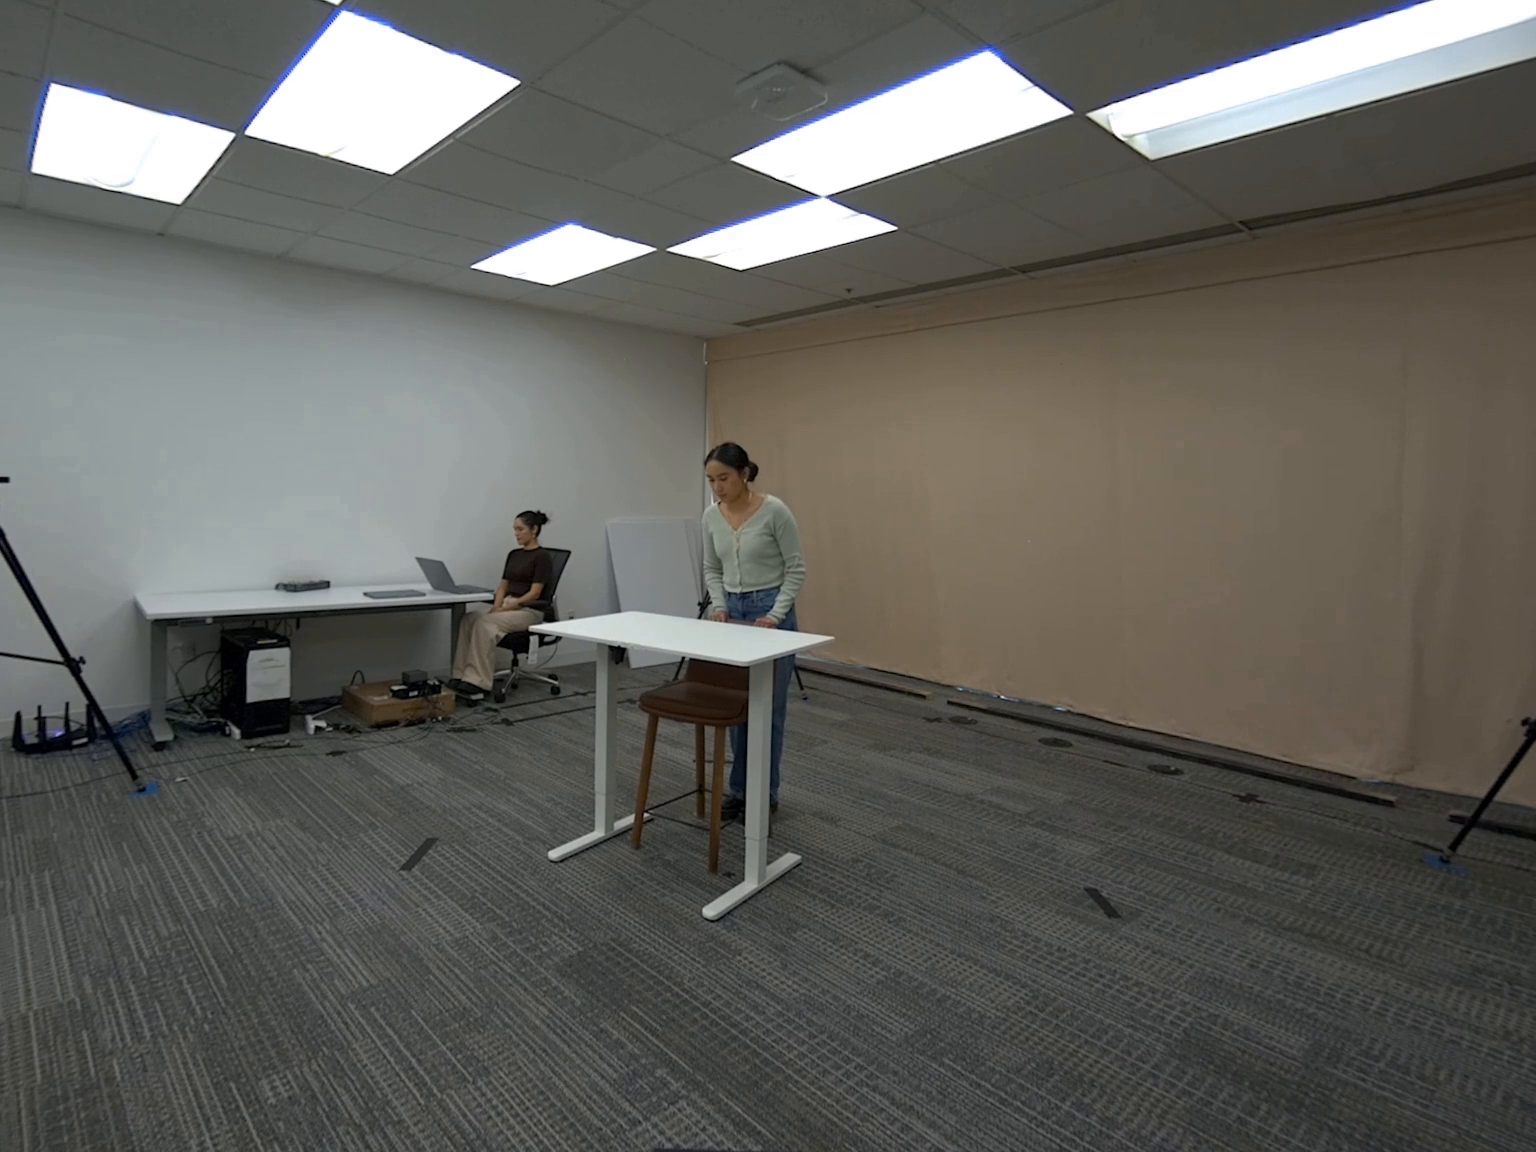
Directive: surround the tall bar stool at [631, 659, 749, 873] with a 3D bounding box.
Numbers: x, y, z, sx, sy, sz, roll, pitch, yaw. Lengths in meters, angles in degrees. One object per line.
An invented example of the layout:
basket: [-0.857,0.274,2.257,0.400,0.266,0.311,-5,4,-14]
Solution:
tall bar stool: [-0.246,0.640,3.381,0.467,0.889,0.457,3,2,33]
